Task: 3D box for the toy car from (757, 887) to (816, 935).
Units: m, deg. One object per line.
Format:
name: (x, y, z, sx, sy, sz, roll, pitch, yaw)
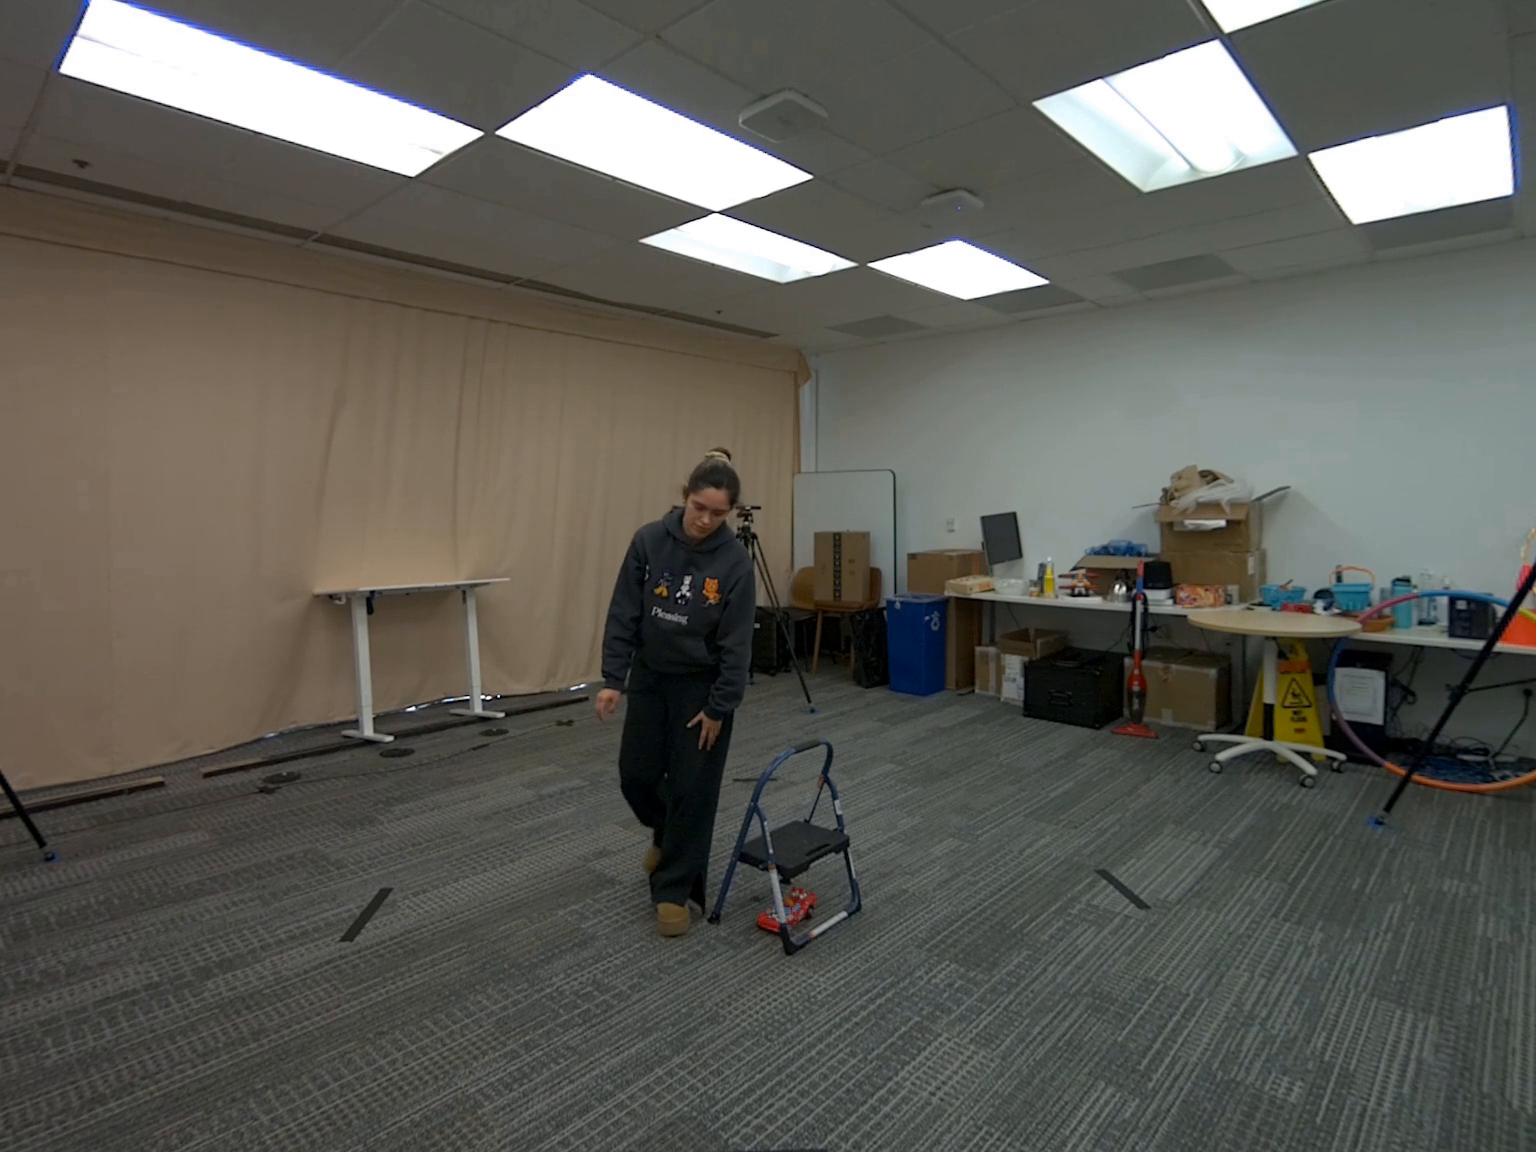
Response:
toy car: (0.100, 1.125, 2.821, 0.134, 0.082, 0.249, 2, 16, 35)
